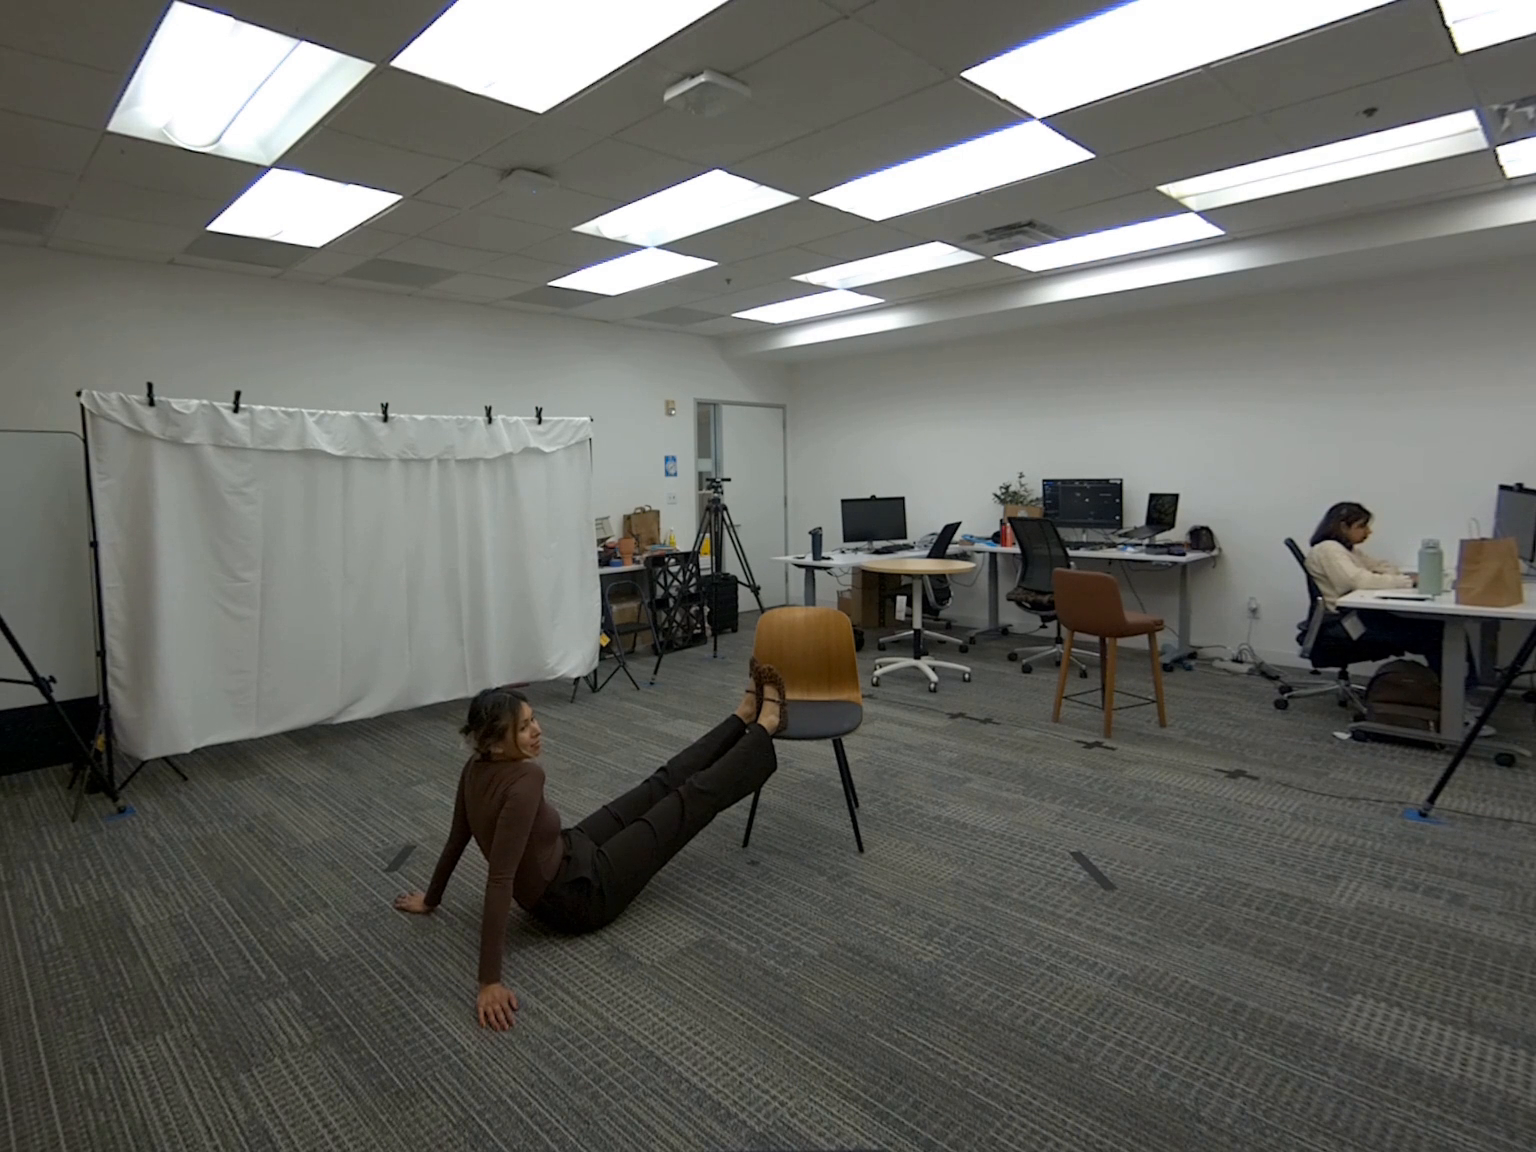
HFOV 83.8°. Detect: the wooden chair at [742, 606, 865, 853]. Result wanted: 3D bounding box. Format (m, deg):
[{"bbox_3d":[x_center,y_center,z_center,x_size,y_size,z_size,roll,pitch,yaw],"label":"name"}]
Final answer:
[{"bbox_3d":[0.140,0.580,3.387,0.481,0.877,0.520,0,0,6],"label":"wooden chair"}]
